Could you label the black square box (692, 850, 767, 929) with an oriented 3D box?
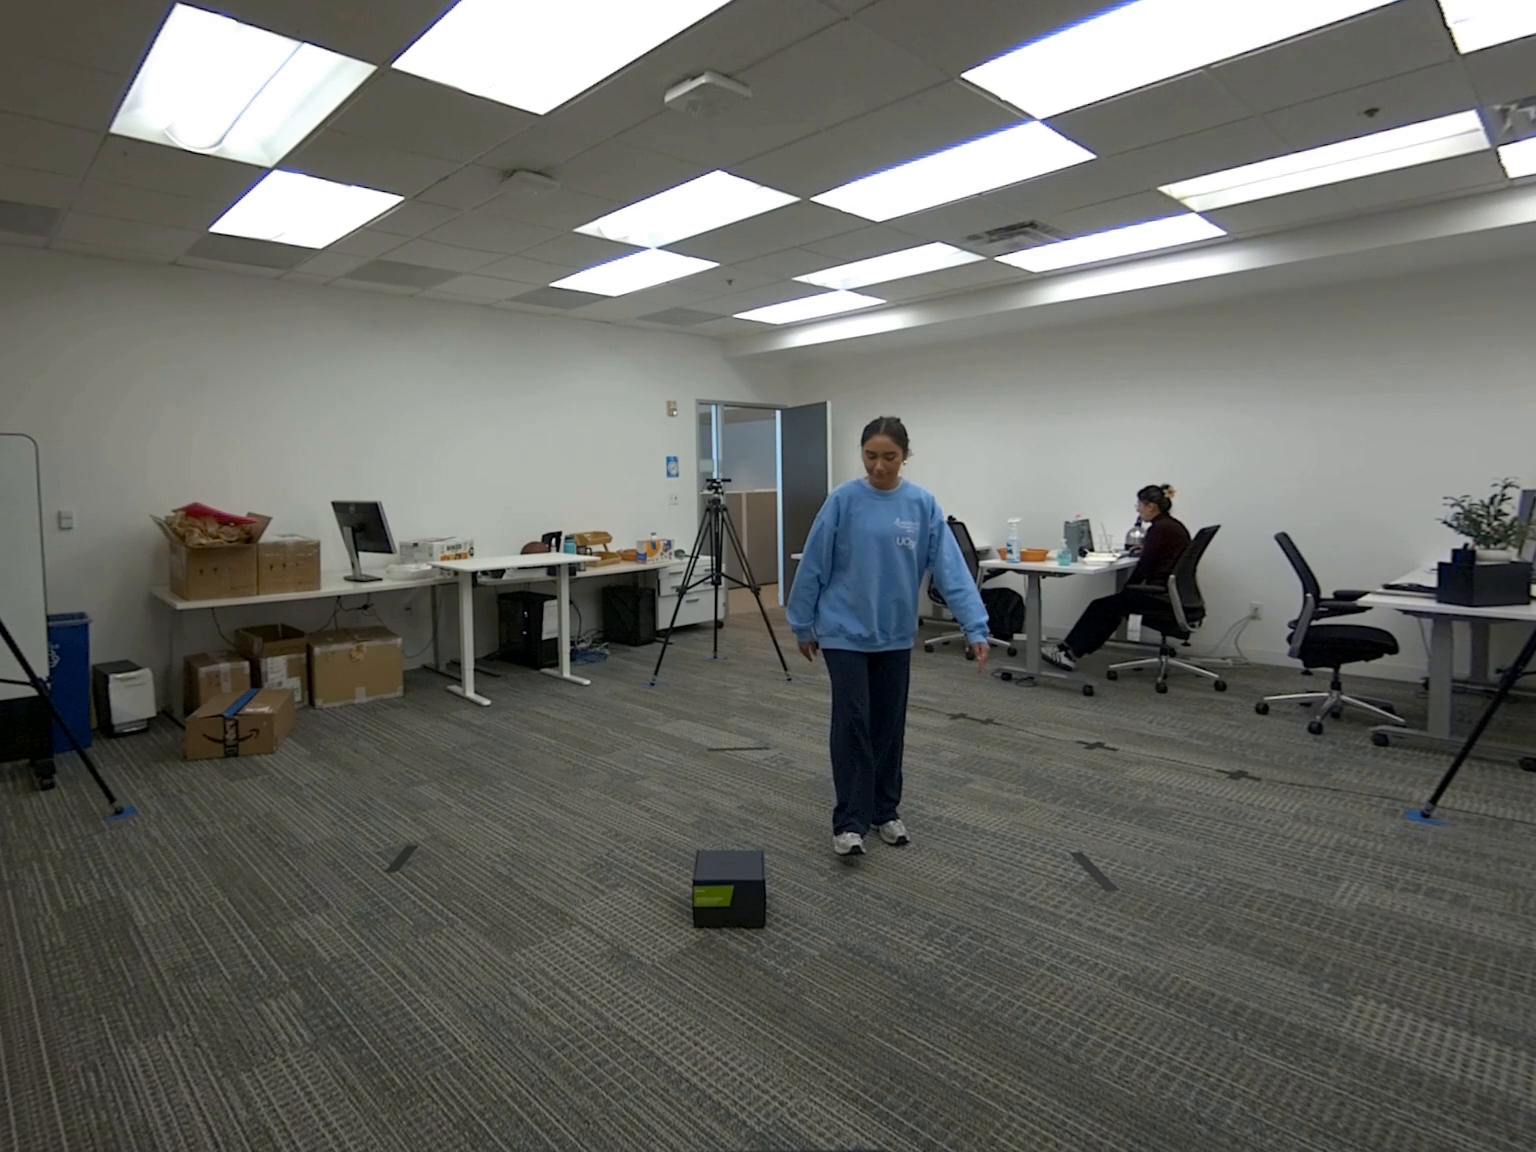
[{"bbox_3d":[-0.121,1.000,2.755,0.228,0.155,0.218,-1,6,0],"label":"black square box"}]
